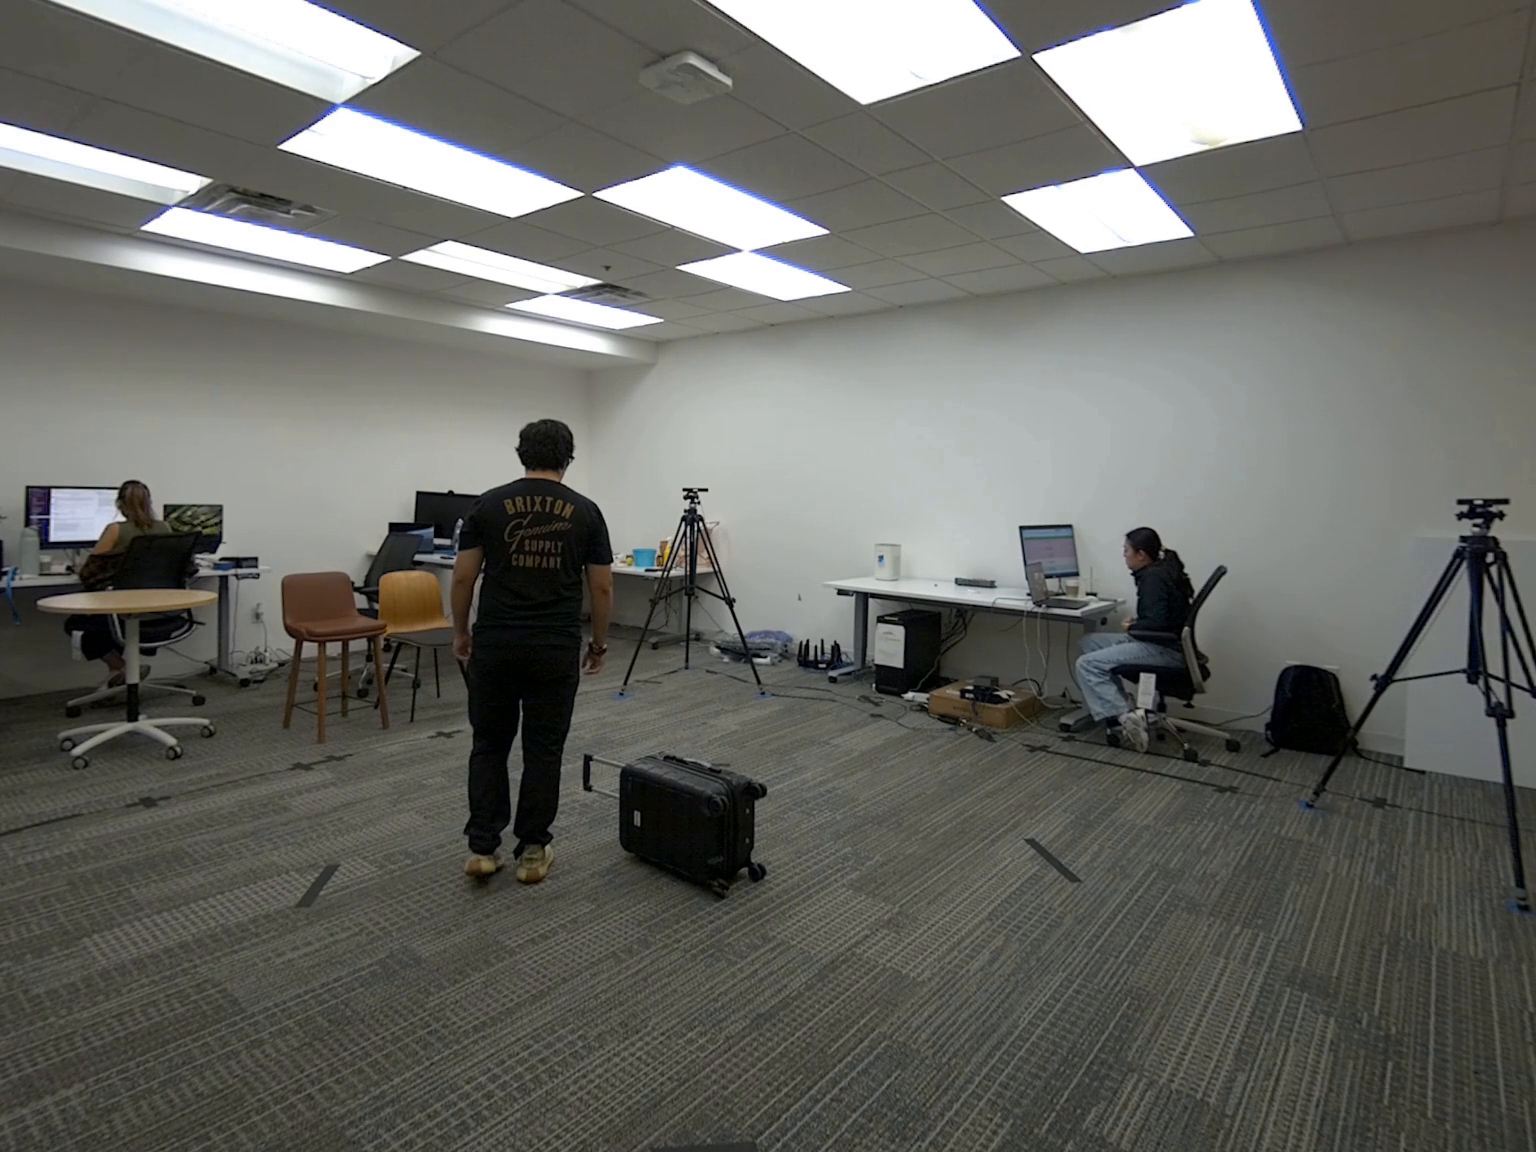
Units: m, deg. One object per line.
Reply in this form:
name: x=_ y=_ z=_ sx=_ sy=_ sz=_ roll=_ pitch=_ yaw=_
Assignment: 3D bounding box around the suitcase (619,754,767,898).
suitcase: x=-0.475 y=0.863 z=3.251 sx=1.011 sy=0.383 sz=0.249 roll=5 pitch=4 yaw=39
